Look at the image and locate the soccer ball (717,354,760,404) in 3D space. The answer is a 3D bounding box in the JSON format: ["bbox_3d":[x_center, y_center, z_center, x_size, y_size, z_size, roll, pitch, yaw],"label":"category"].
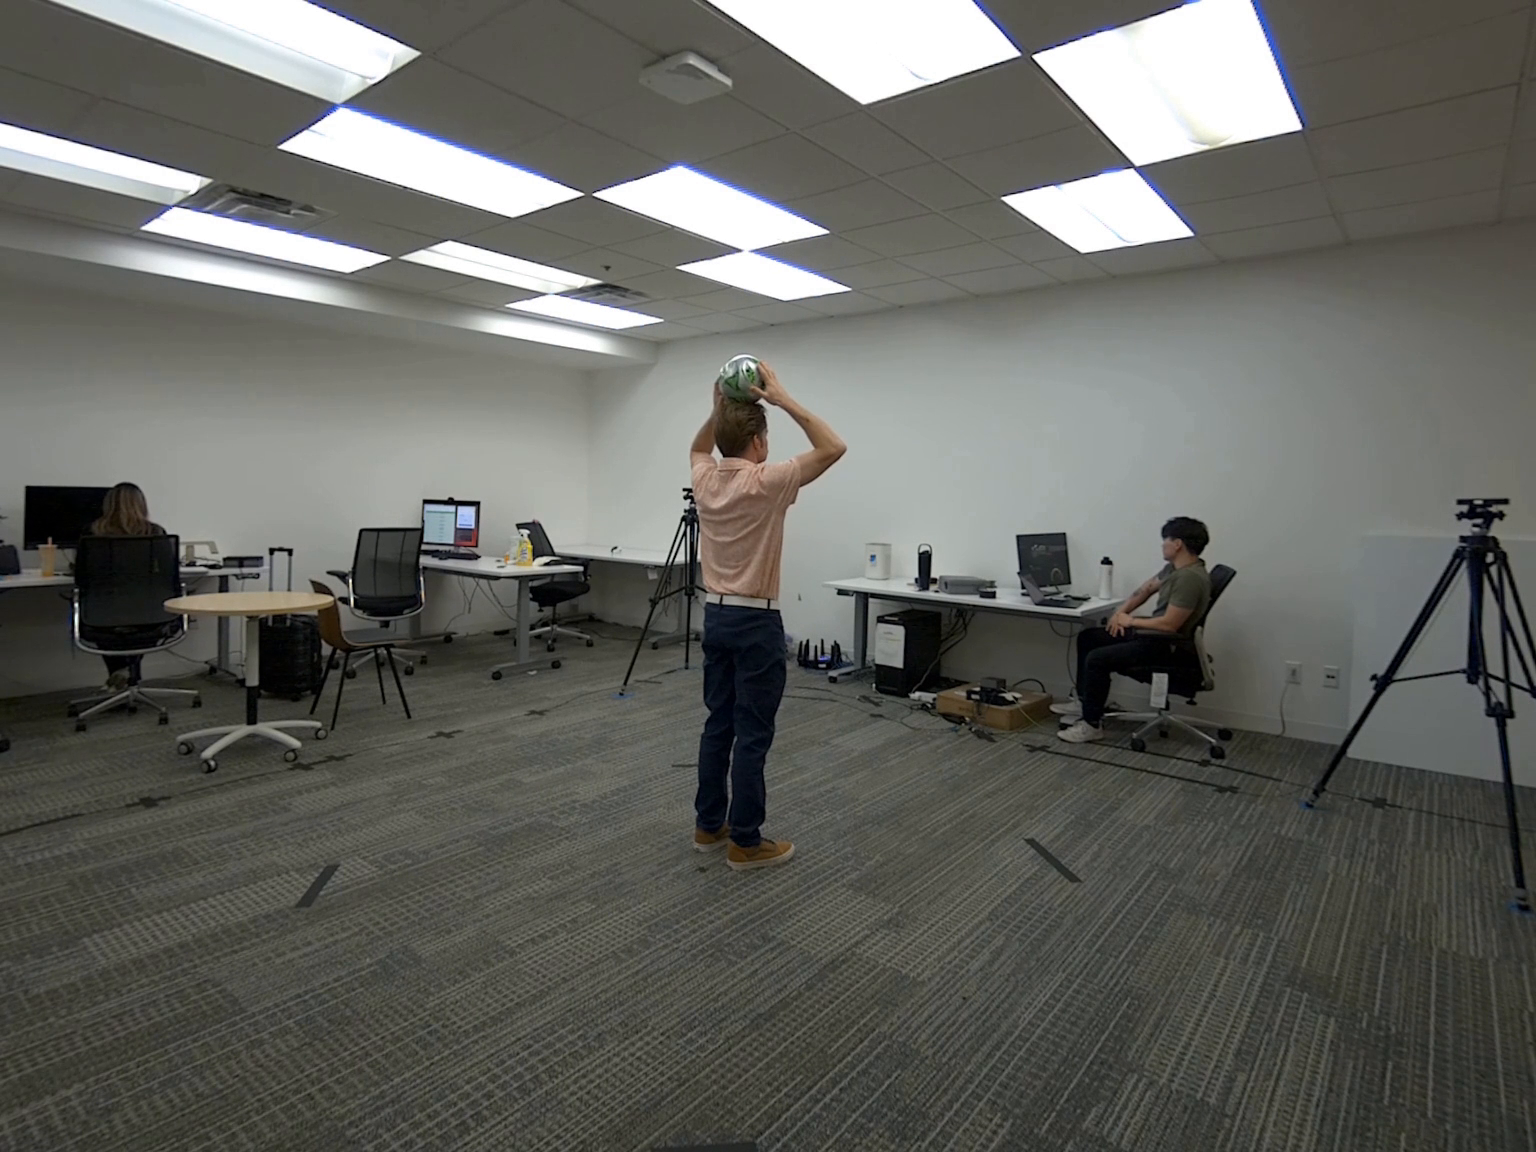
[{"bbox_3d":[-0.102,-0.729,3.182,0.187,0.187,0.188,1,4,-2],"label":"soccer ball"}]
